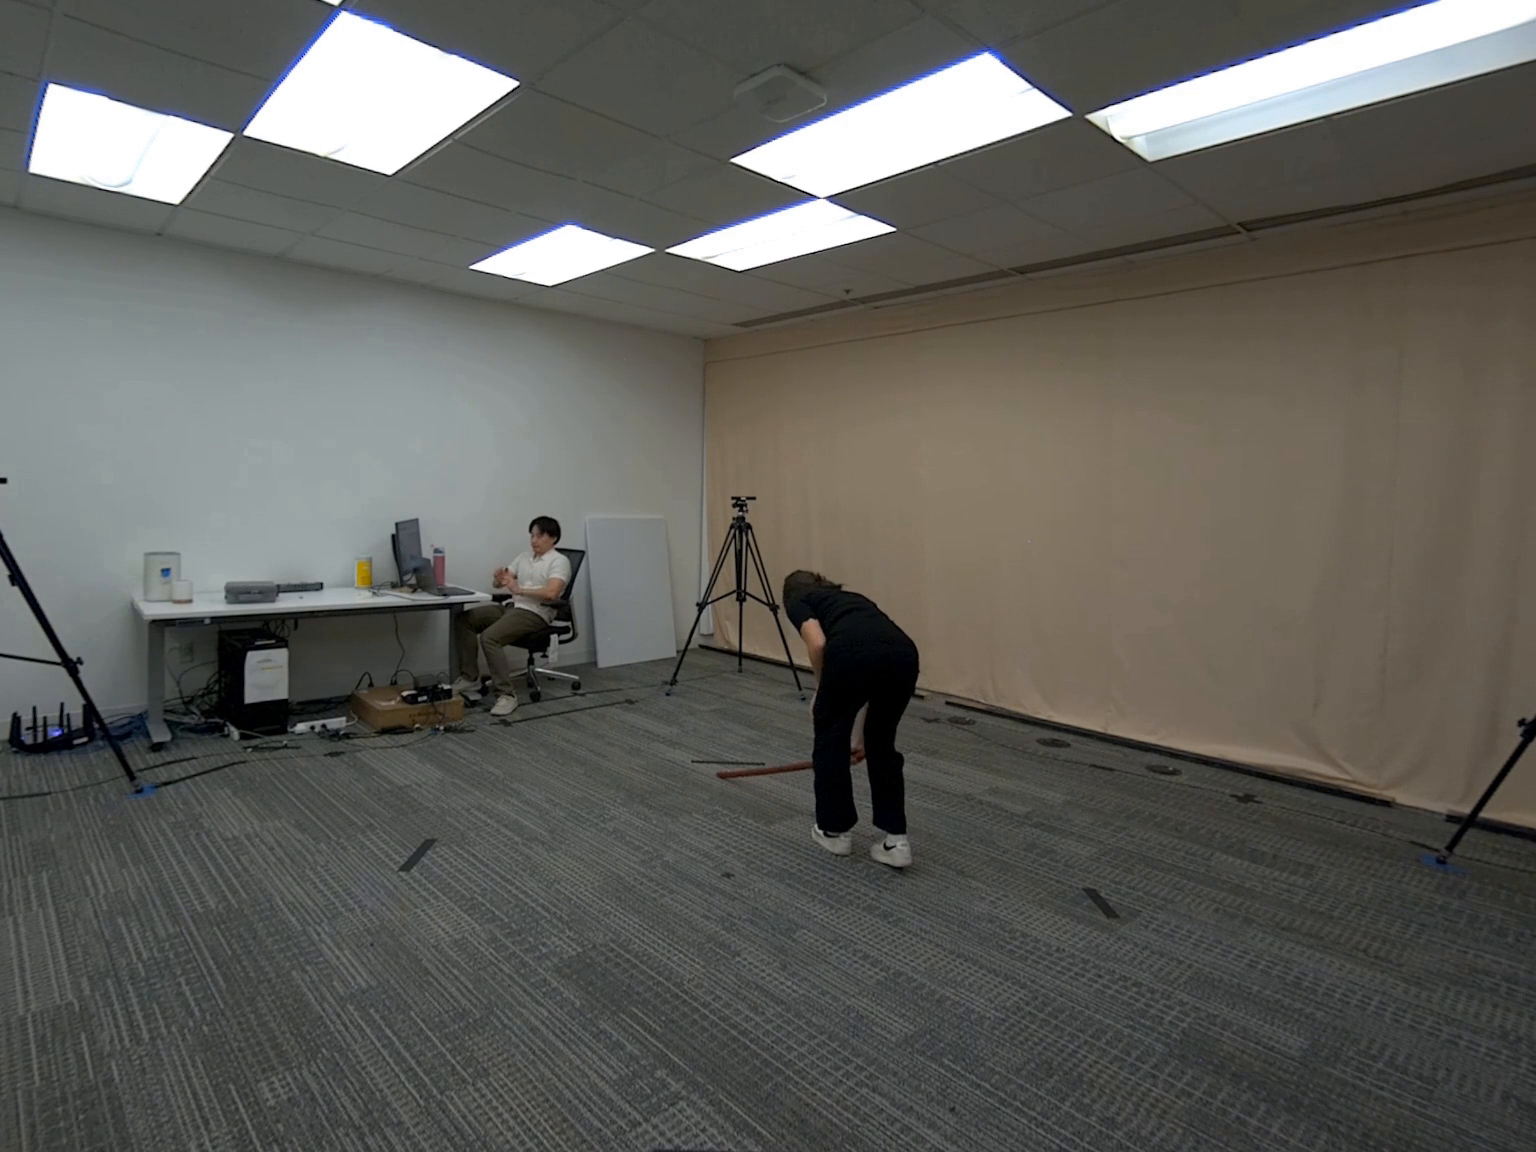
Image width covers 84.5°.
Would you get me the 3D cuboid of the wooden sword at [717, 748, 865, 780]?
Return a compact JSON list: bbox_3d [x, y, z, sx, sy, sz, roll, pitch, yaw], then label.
[{"bbox_3d":[0.061,0.880,3.859,1.040,0.024,0.051,-19,14,46],"label":"wooden sword"}]
